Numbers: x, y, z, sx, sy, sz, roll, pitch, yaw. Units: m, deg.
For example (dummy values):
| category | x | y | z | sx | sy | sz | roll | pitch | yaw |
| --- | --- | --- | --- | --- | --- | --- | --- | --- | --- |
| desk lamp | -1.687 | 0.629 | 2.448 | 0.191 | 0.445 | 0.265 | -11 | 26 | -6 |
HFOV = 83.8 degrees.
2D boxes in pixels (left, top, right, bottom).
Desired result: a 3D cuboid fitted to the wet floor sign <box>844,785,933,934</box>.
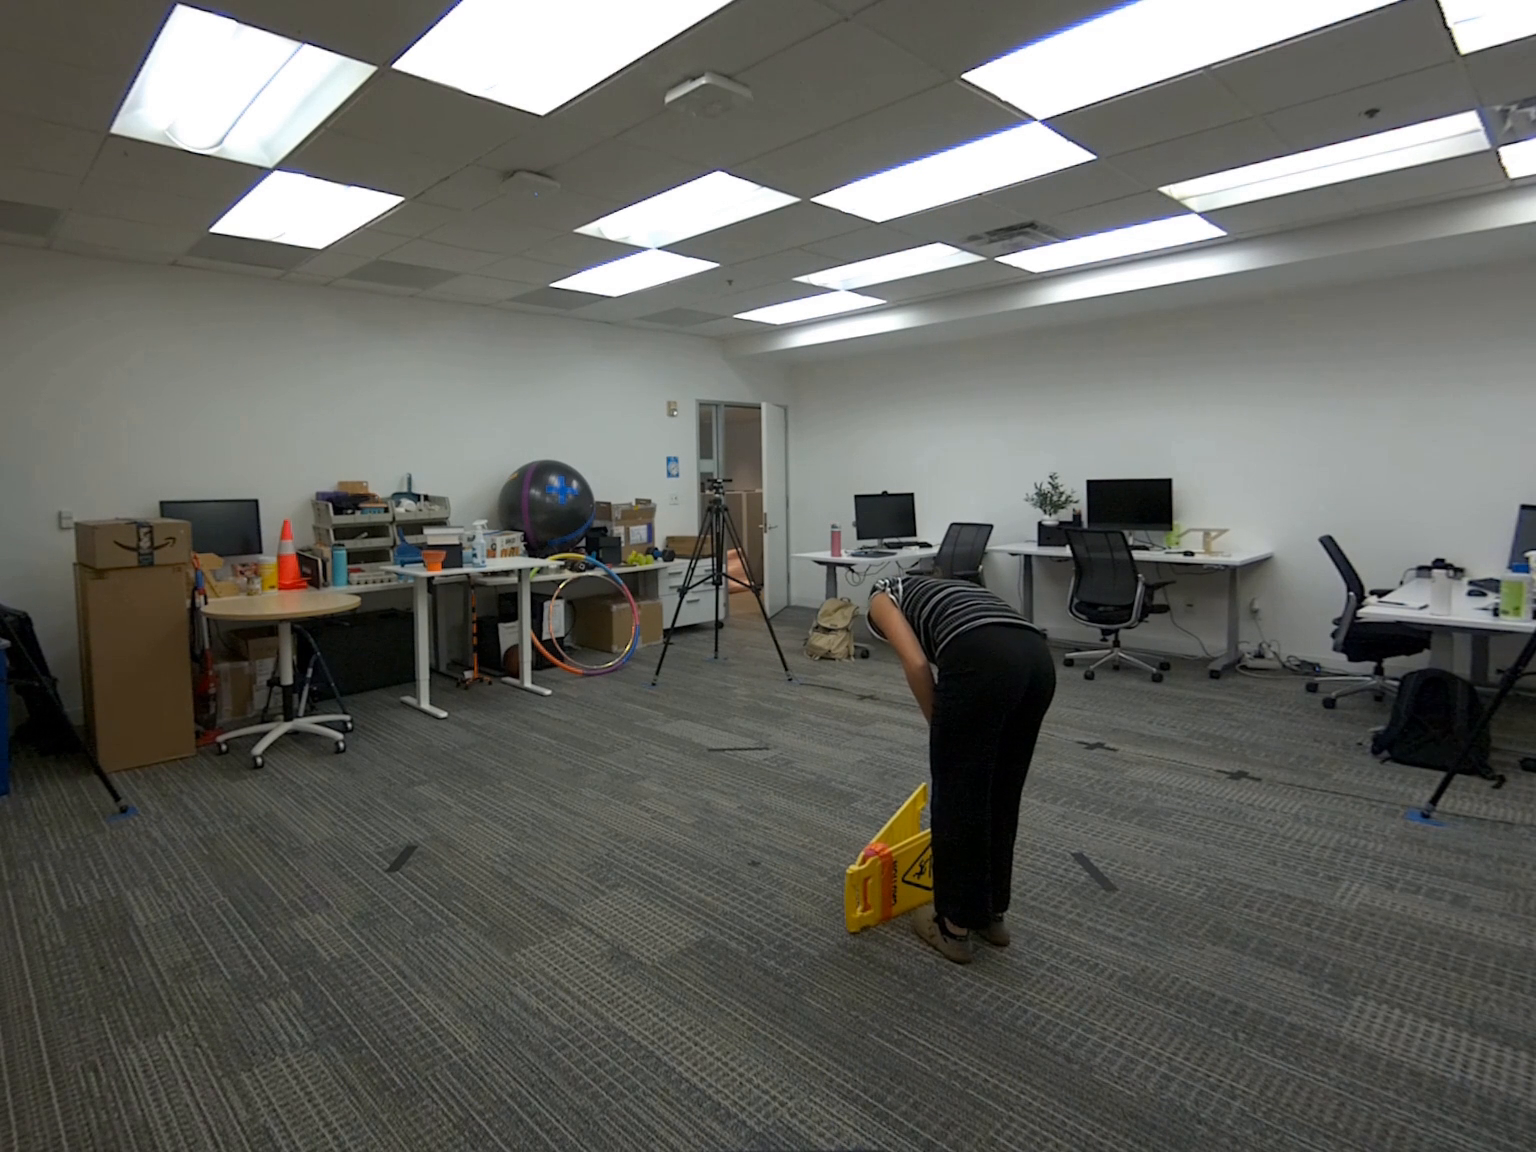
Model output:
| category | x | y | z | sx | sy | sz | roll | pitch | yaw |
| --- | --- | --- | --- | --- | --- | --- | --- | --- | --- |
| wet floor sign | 0.464 | 0.946 | 2.815 | 0.299 | 0.280 | 0.631 | 6 | 12 | 42 |
